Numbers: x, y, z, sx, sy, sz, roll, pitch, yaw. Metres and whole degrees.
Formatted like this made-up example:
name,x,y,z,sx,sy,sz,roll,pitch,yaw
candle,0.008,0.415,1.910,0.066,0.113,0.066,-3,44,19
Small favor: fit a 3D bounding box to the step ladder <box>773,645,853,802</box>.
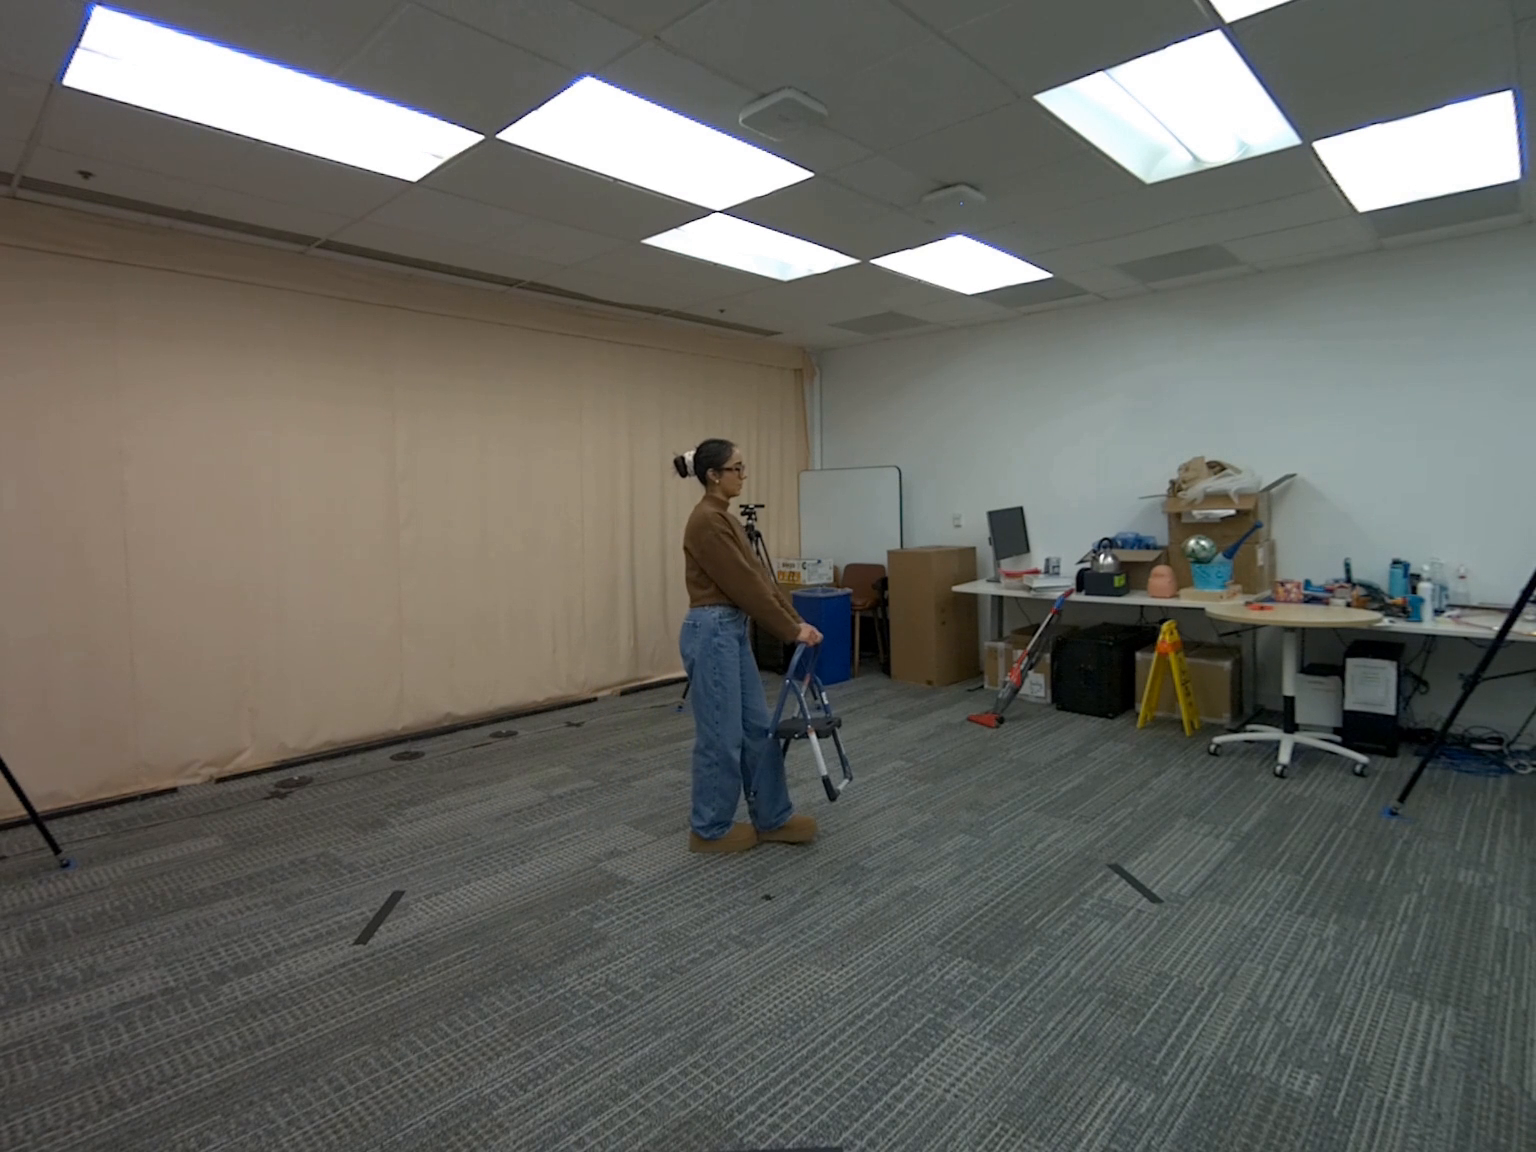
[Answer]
name,x,y,z,sx,sy,sz,roll,pitch,yaw
step ladder,0.122,0.555,3.355,0.355,0.608,0.422,-5,-5,15
